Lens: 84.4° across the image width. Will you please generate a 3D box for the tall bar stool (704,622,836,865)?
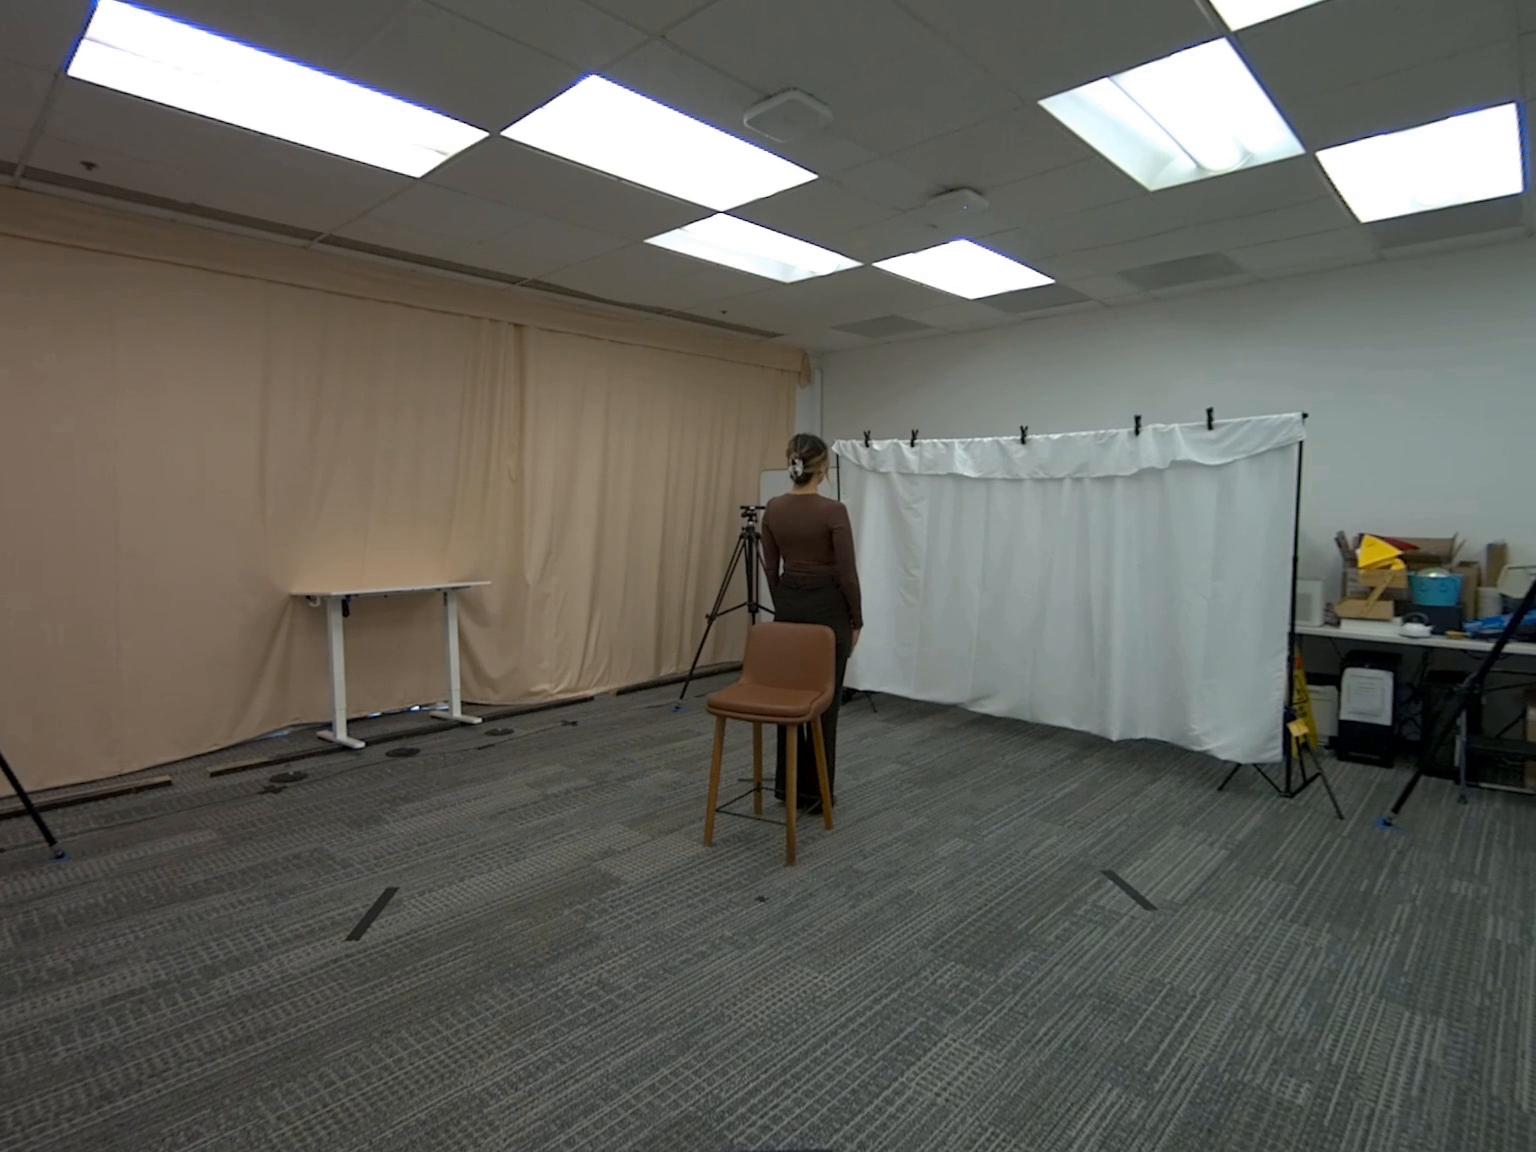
[{"bbox_3d":[0.020,0.660,3.526,0.470,0.889,0.454,2,1,29],"label":"tall bar stool"}]
